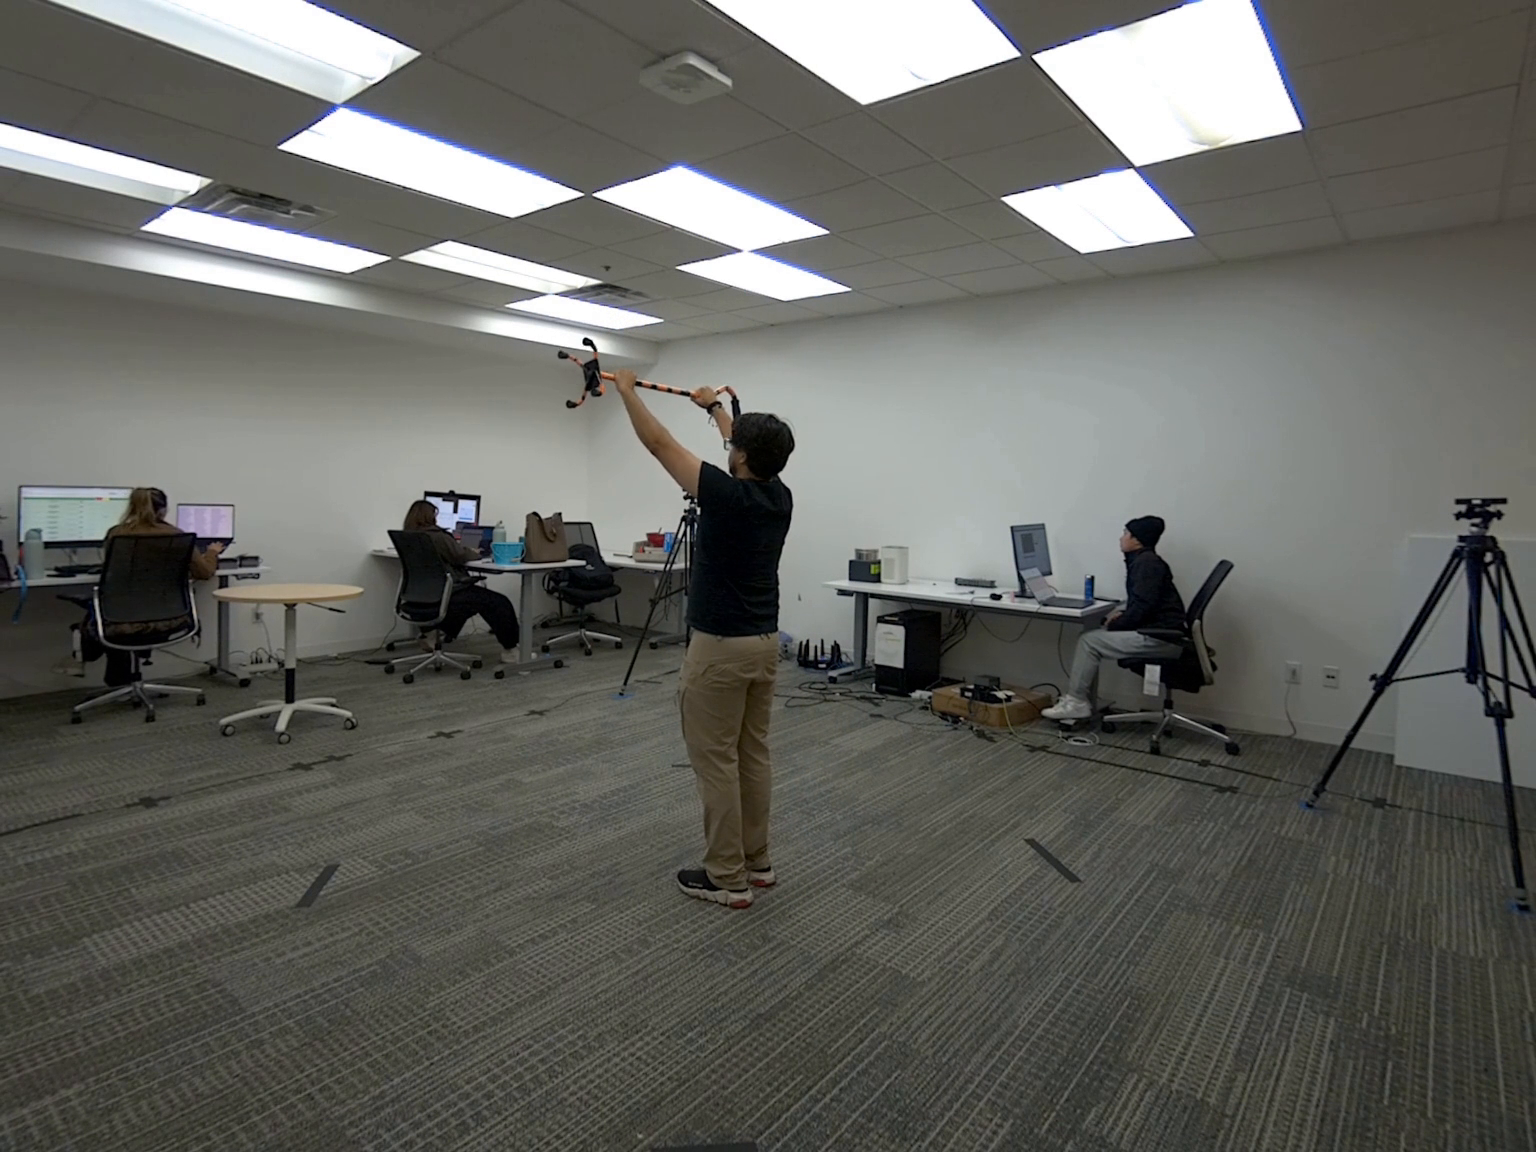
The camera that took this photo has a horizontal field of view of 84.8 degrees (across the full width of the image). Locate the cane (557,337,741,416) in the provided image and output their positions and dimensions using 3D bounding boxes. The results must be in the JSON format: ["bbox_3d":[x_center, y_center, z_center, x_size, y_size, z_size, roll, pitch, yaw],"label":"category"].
[{"bbox_3d":[-0.402,-0.699,3.203,0.155,0.208,0.881,-15,-6,35],"label":"cane"}]
